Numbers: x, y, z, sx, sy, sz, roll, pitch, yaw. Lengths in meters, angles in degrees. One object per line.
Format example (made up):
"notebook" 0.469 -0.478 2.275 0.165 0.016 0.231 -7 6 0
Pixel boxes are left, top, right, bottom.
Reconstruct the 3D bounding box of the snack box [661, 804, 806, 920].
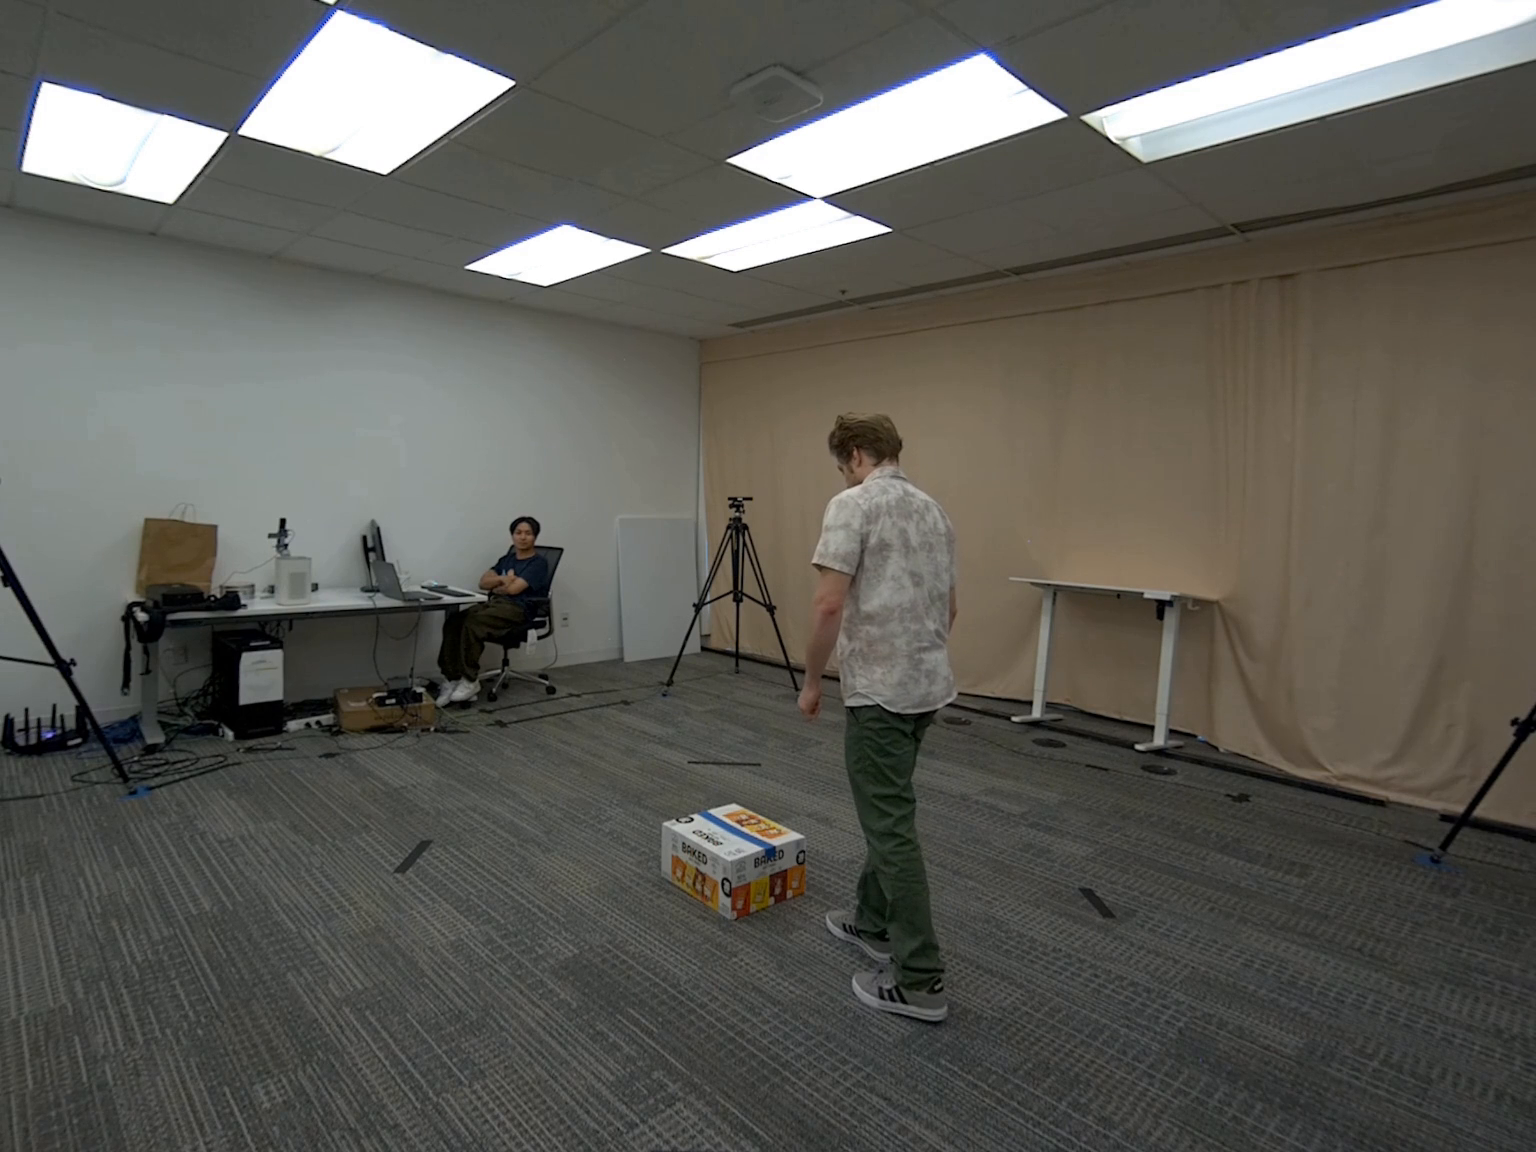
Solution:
"snack box" -0.135 1.014 3.024 0.332 0.205 0.415 -2 6 -40
